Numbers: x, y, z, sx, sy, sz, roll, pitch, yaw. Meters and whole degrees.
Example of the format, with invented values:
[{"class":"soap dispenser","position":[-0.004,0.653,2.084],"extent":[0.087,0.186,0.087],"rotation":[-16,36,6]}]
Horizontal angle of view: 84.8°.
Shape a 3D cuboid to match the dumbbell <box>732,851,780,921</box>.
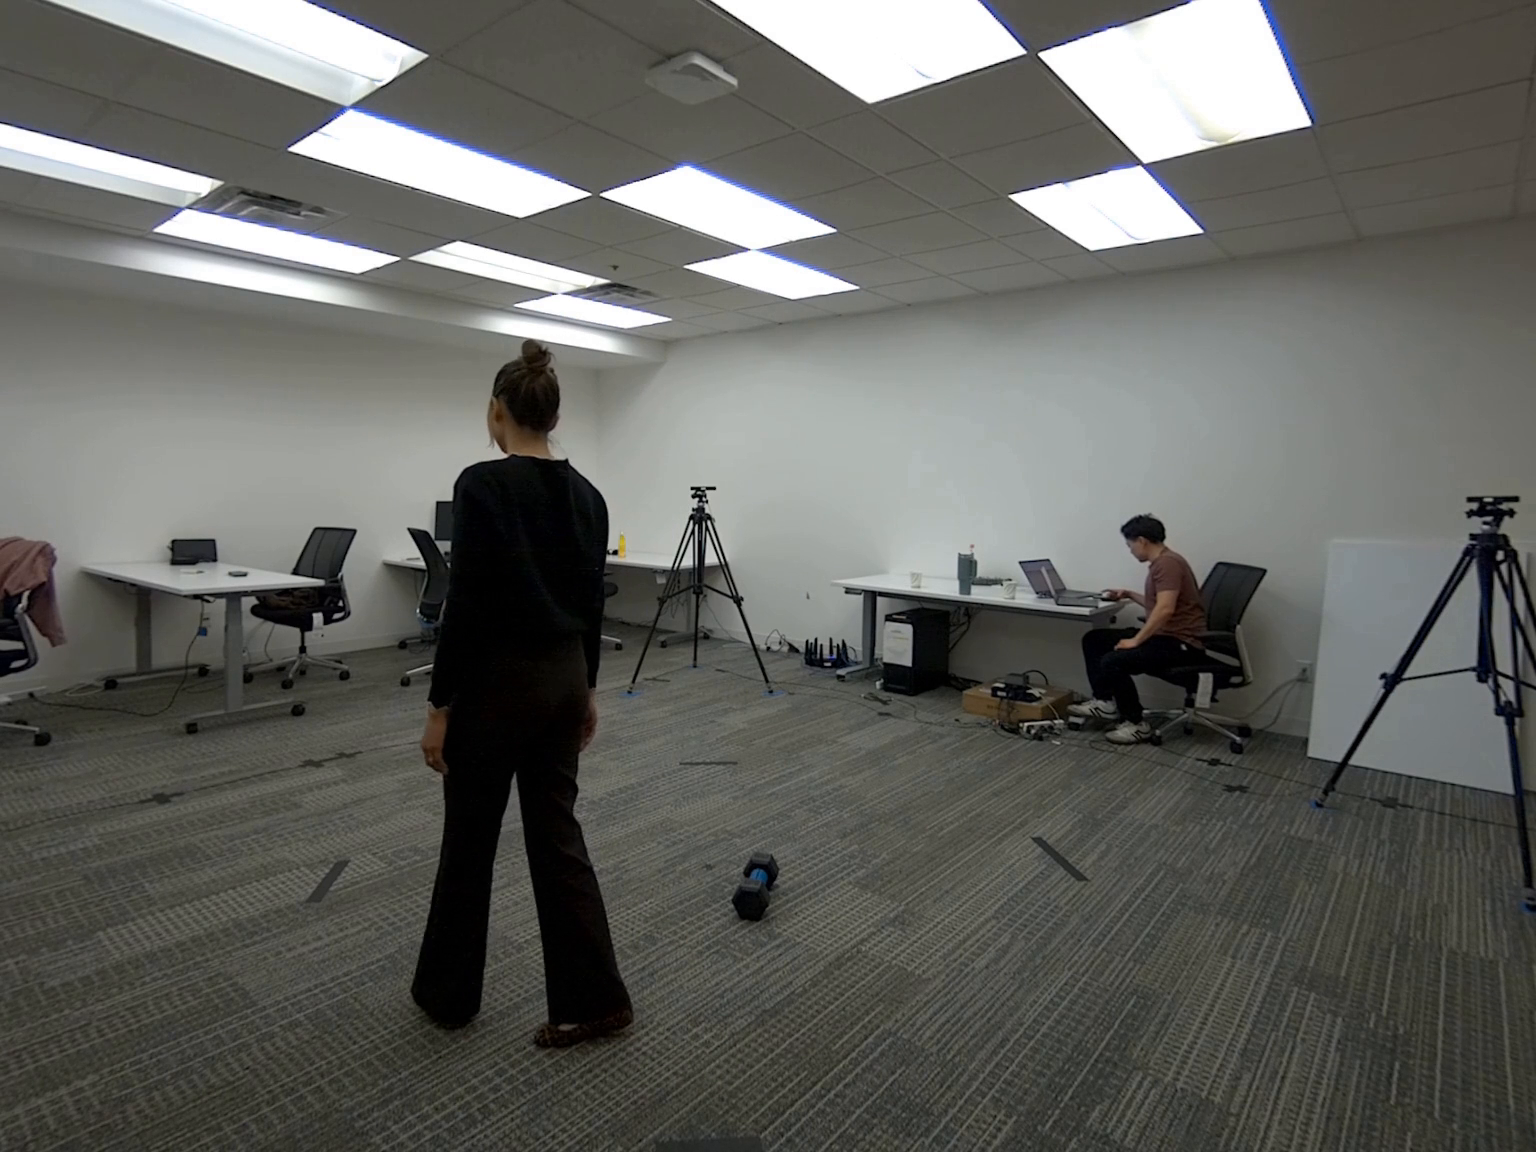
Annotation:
[{"class":"dumbbell","position":[-0.045,1.036,2.866],"extent":[0.109,0.123,0.291],"rotation":[-29,0,10]}]
